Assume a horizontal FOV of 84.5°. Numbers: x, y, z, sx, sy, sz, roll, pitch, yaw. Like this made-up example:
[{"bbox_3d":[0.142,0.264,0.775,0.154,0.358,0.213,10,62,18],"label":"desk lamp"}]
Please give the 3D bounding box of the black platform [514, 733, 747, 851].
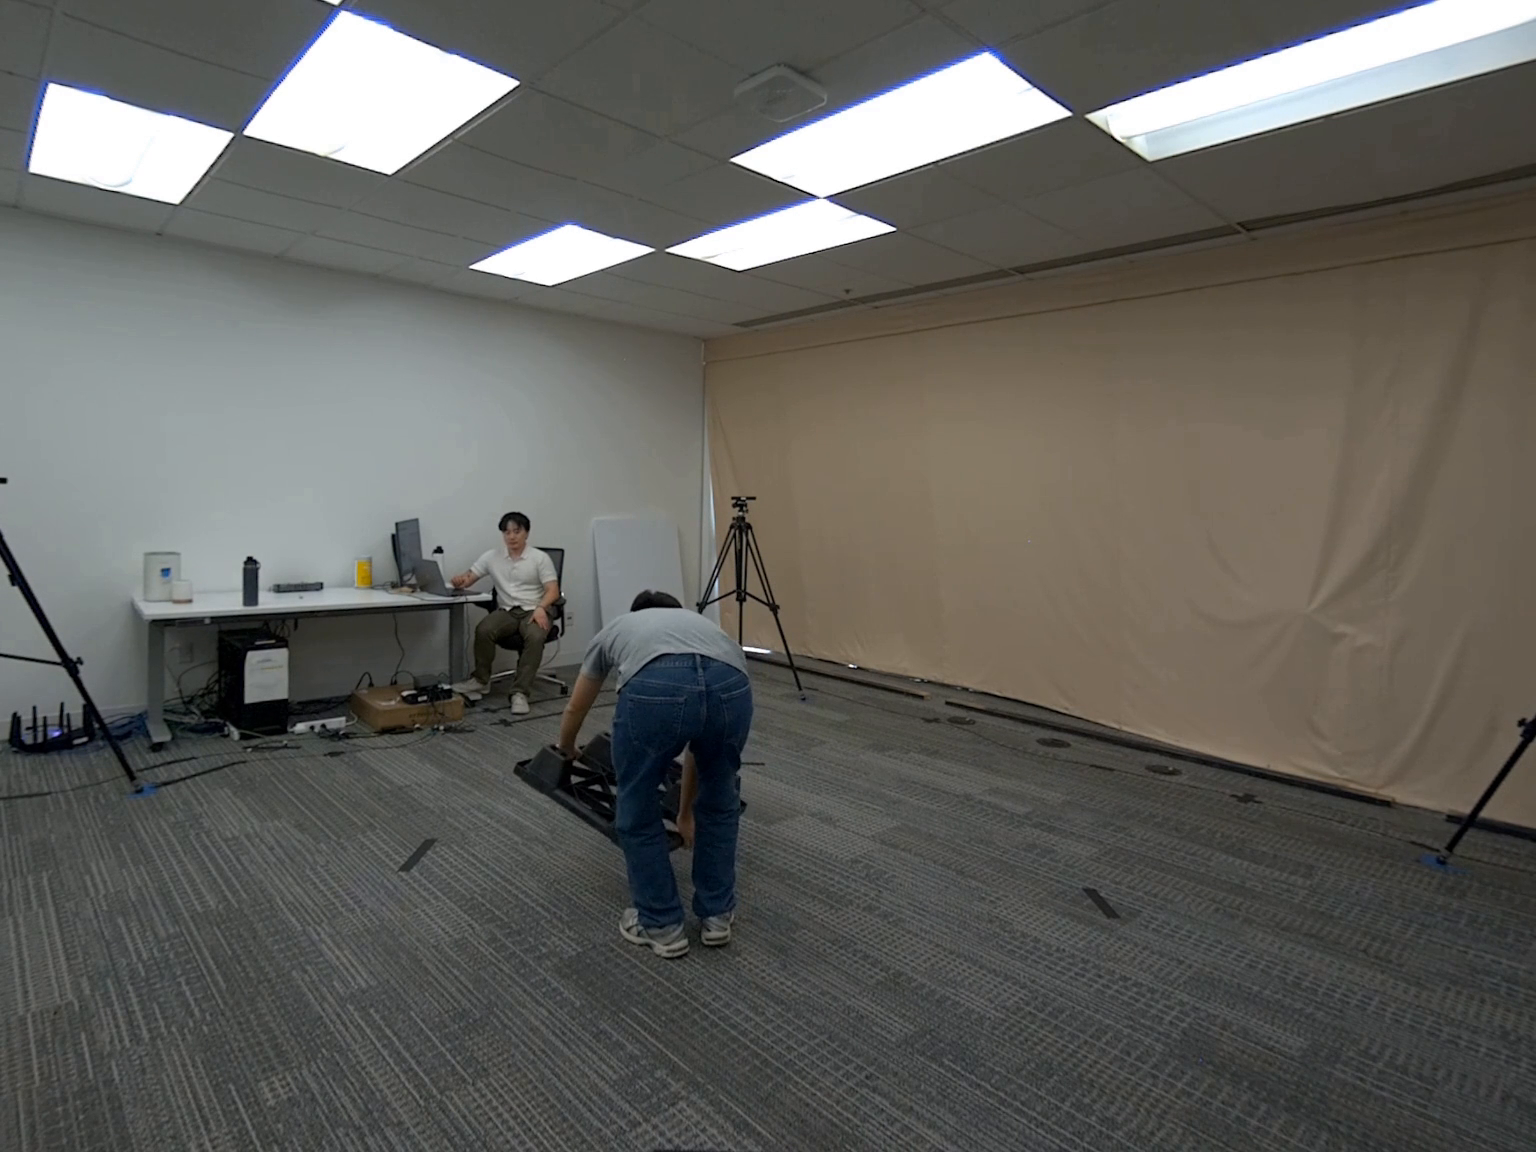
[{"bbox_3d":[-0.477,0.758,3.143,0.618,0.143,0.790,27,7,21],"label":"black platform"}]
